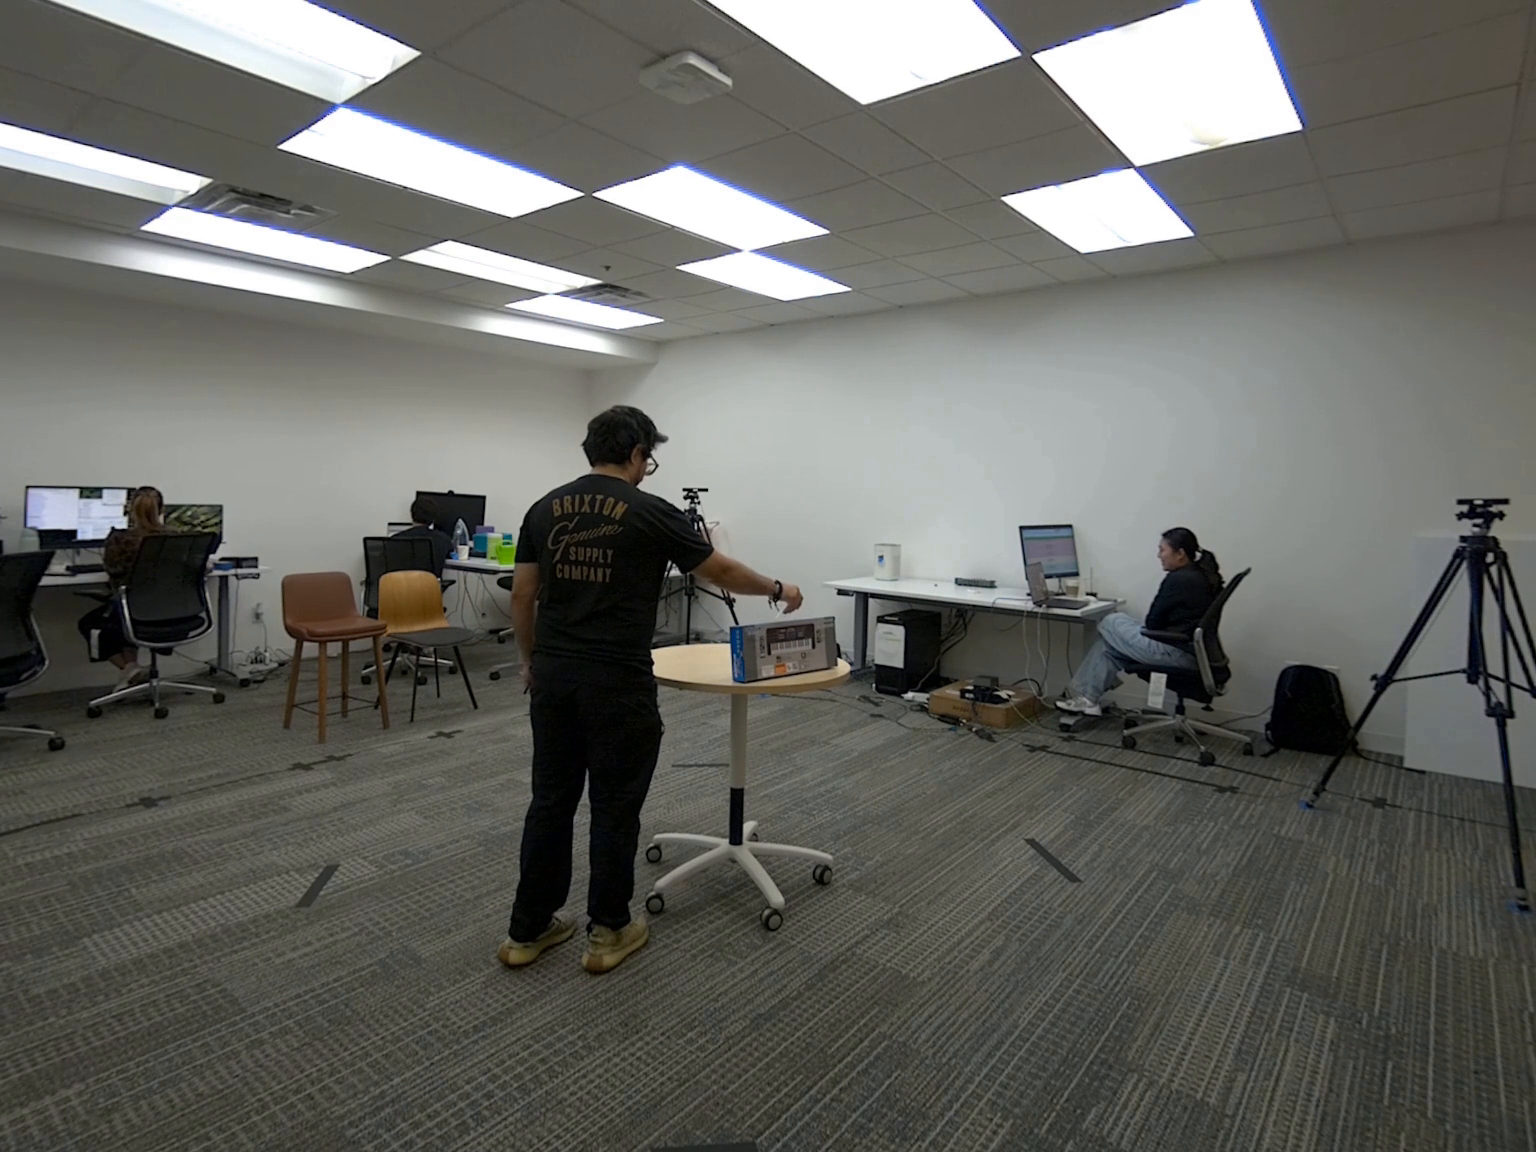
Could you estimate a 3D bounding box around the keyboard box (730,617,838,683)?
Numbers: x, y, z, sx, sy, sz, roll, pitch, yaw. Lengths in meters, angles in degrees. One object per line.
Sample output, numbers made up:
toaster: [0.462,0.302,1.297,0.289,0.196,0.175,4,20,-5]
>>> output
keyboard box: [0.052,0.233,2.788,0.423,0.176,0.061,-3,-3,-42]
